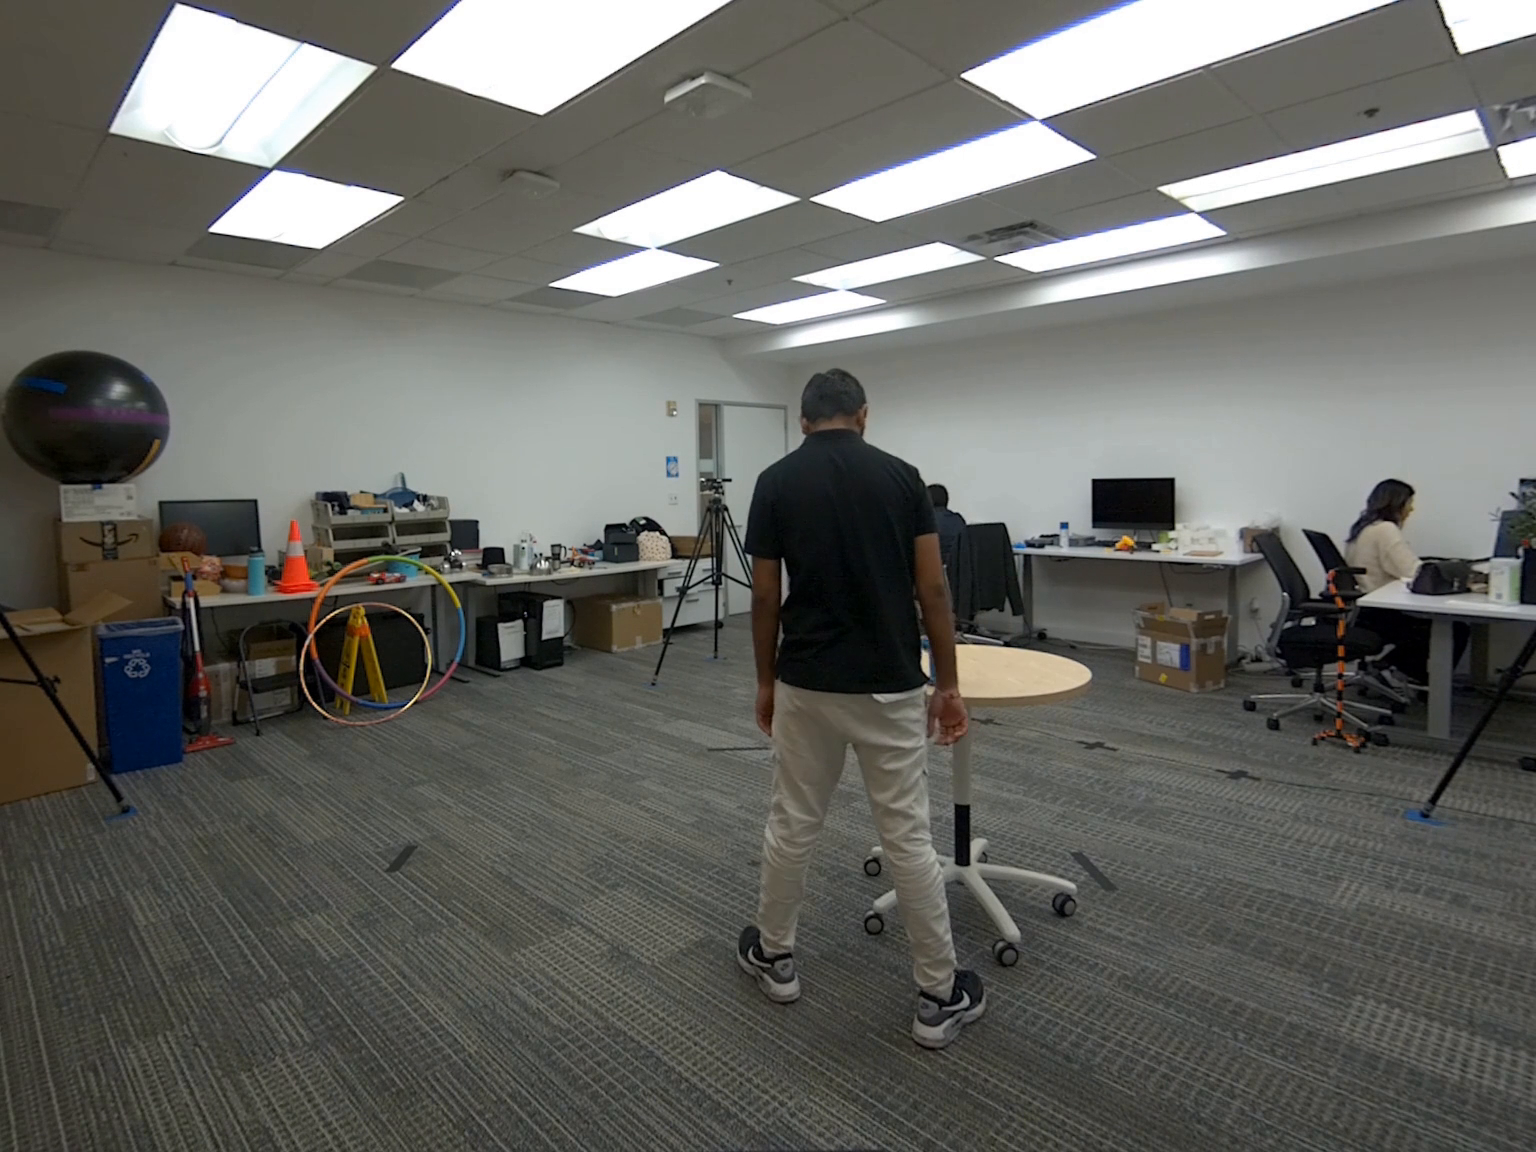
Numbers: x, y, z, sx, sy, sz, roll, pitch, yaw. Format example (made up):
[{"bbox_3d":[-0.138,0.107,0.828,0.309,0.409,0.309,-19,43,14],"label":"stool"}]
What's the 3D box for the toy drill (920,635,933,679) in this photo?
[{"bbox_3d":[0.500,0.242,2.548,0.061,0.145,0.171,-5,6,-6],"label":"toy drill"}]
